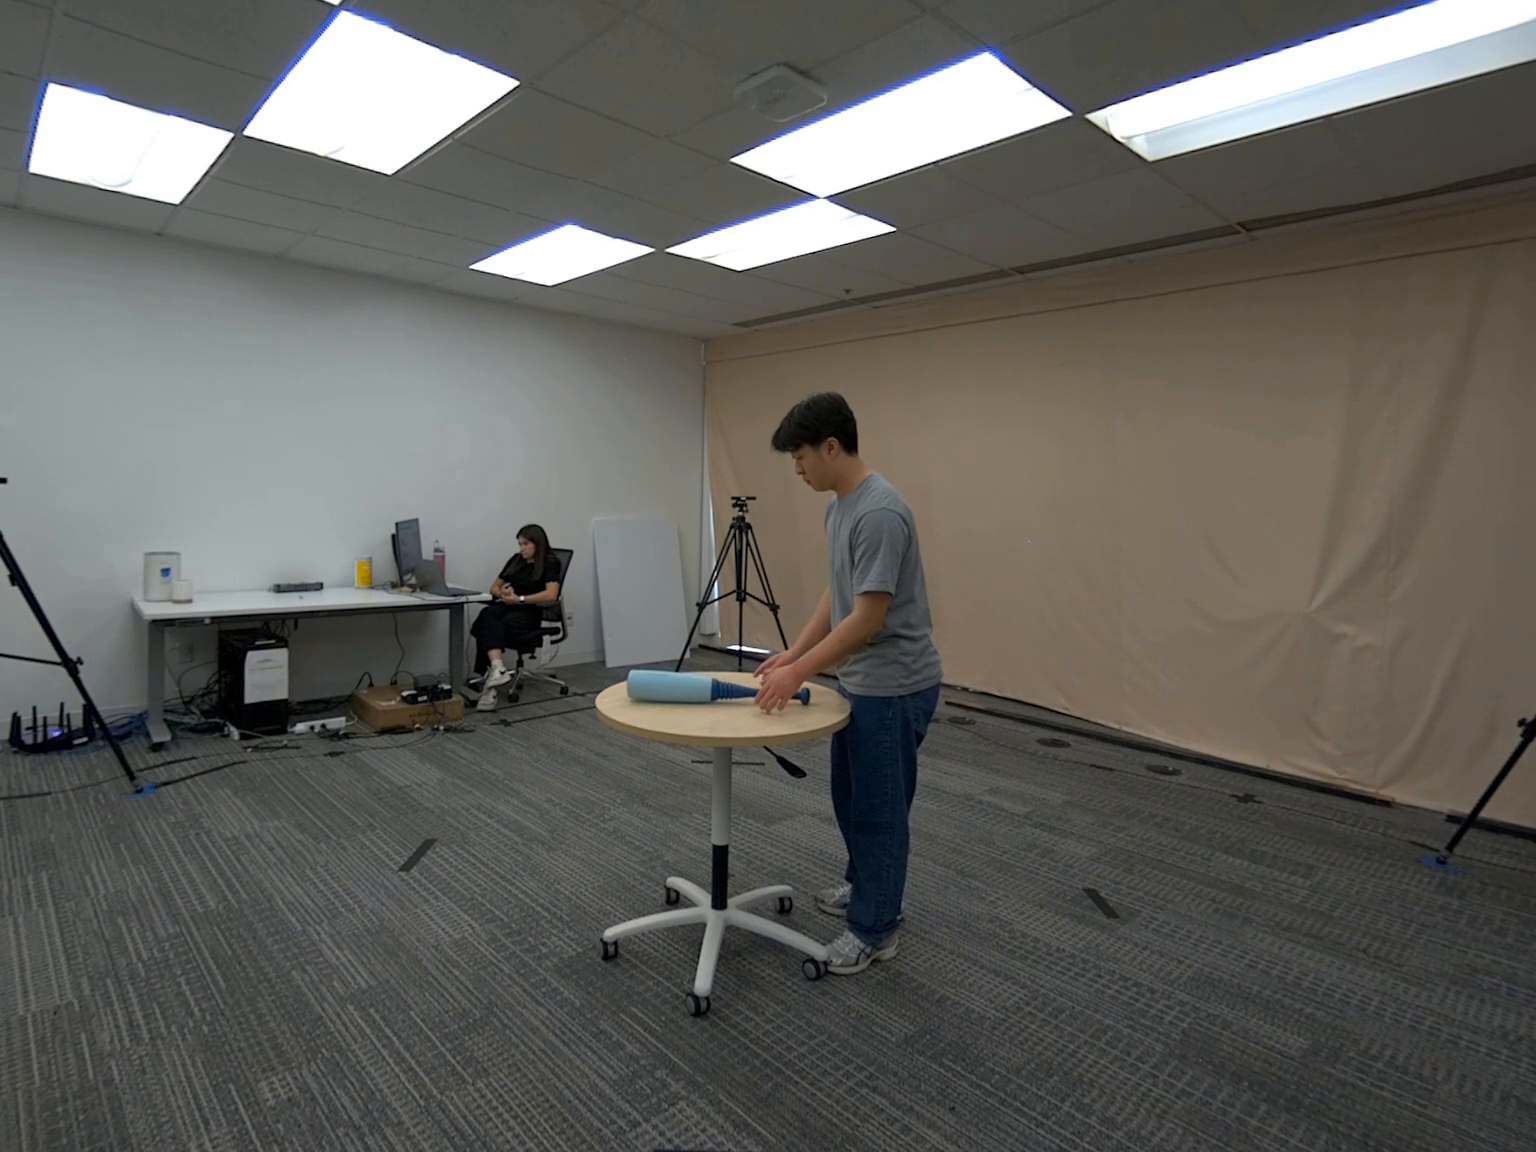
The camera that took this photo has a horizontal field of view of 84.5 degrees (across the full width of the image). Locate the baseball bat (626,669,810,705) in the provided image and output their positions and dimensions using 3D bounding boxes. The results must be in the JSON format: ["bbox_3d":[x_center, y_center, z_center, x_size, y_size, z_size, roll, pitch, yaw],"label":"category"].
[{"bbox_3d":[-0.146,0.342,2.497,0.542,0.089,0.089,5,4,-1],"label":"baseball bat"}]
